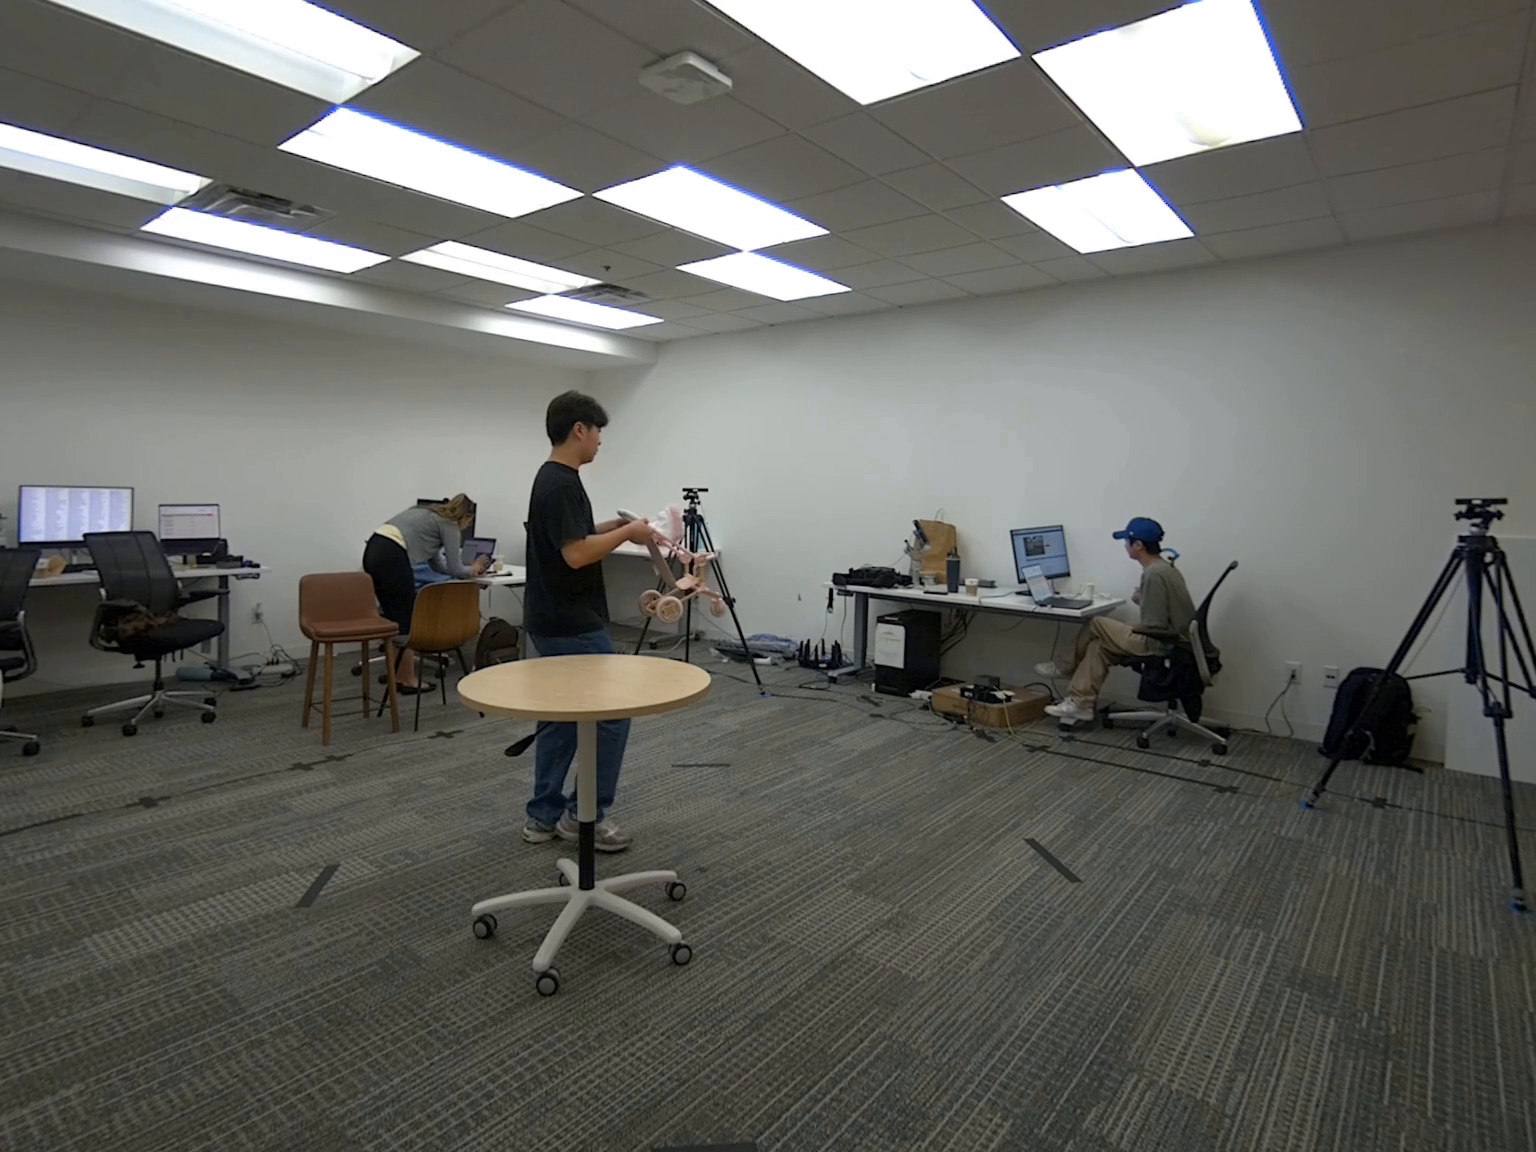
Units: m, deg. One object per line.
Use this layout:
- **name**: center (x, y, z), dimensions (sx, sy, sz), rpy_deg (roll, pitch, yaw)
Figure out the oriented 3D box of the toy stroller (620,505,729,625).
- **toy stroller**: center (-0.388, -0.049, 3.449), dimensions (0.337, 0.531, 0.287), rpy_deg (-16, 7, -16)
